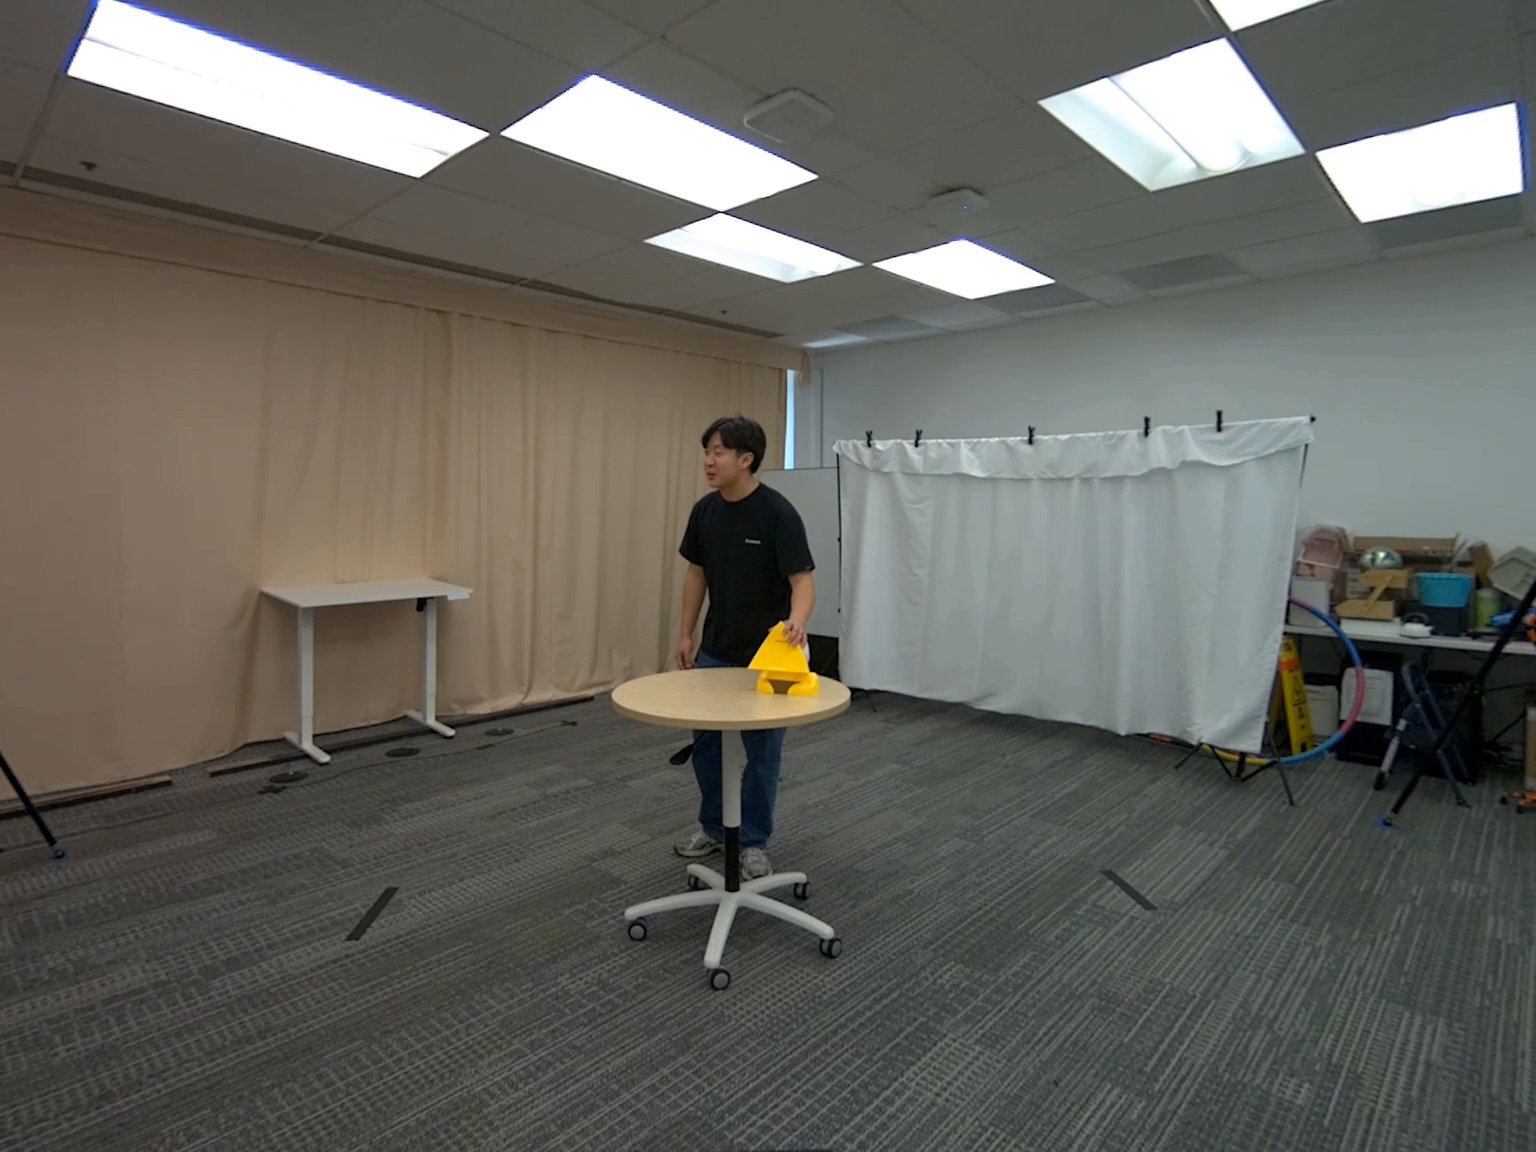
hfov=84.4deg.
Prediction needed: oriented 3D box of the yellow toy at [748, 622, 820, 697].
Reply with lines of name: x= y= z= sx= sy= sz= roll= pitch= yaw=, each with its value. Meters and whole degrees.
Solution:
yellow toy: x=0.061 y=0.254 z=2.722 sx=0.209 sy=0.230 sz=0.189 roll=3 pitch=4 yaw=22
